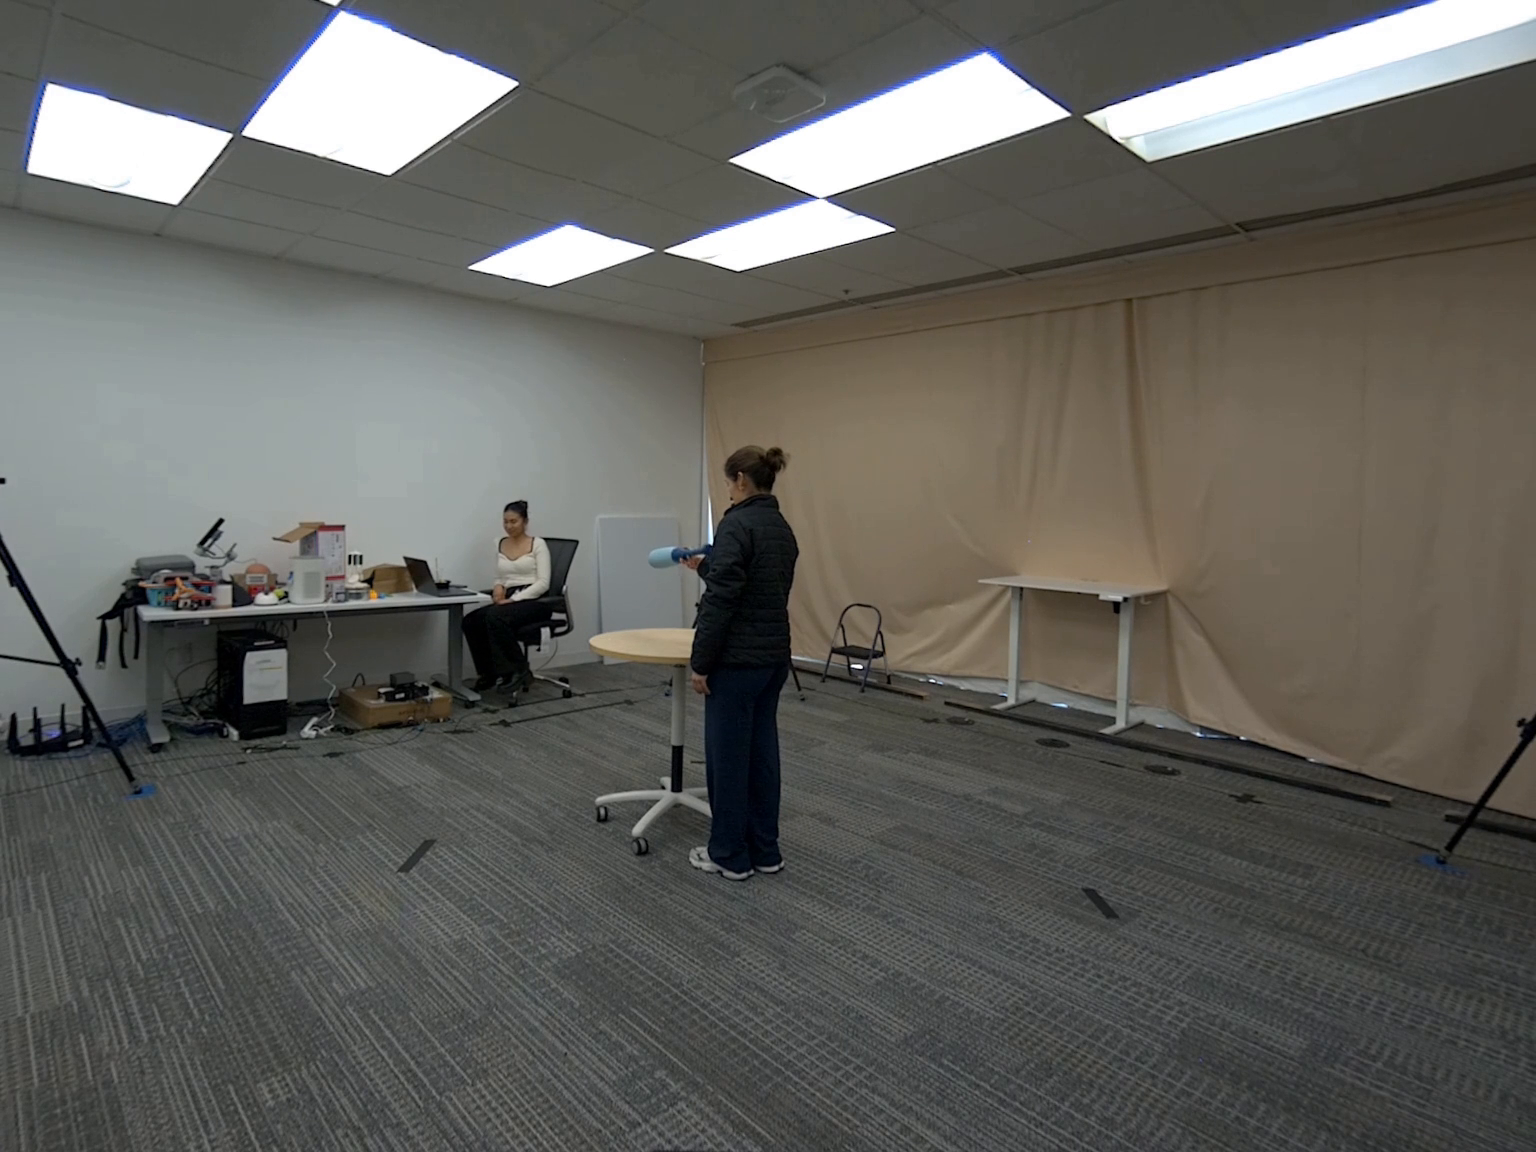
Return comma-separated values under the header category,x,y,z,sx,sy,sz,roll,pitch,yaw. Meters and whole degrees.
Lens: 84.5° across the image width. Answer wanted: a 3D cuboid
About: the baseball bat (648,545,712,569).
category,x,y,z,sx,sy,sz,roll,pitch,yaw
baseball bat,-0.377,-0.081,3.548,0.087,0.089,0.551,-1,-3,-27
